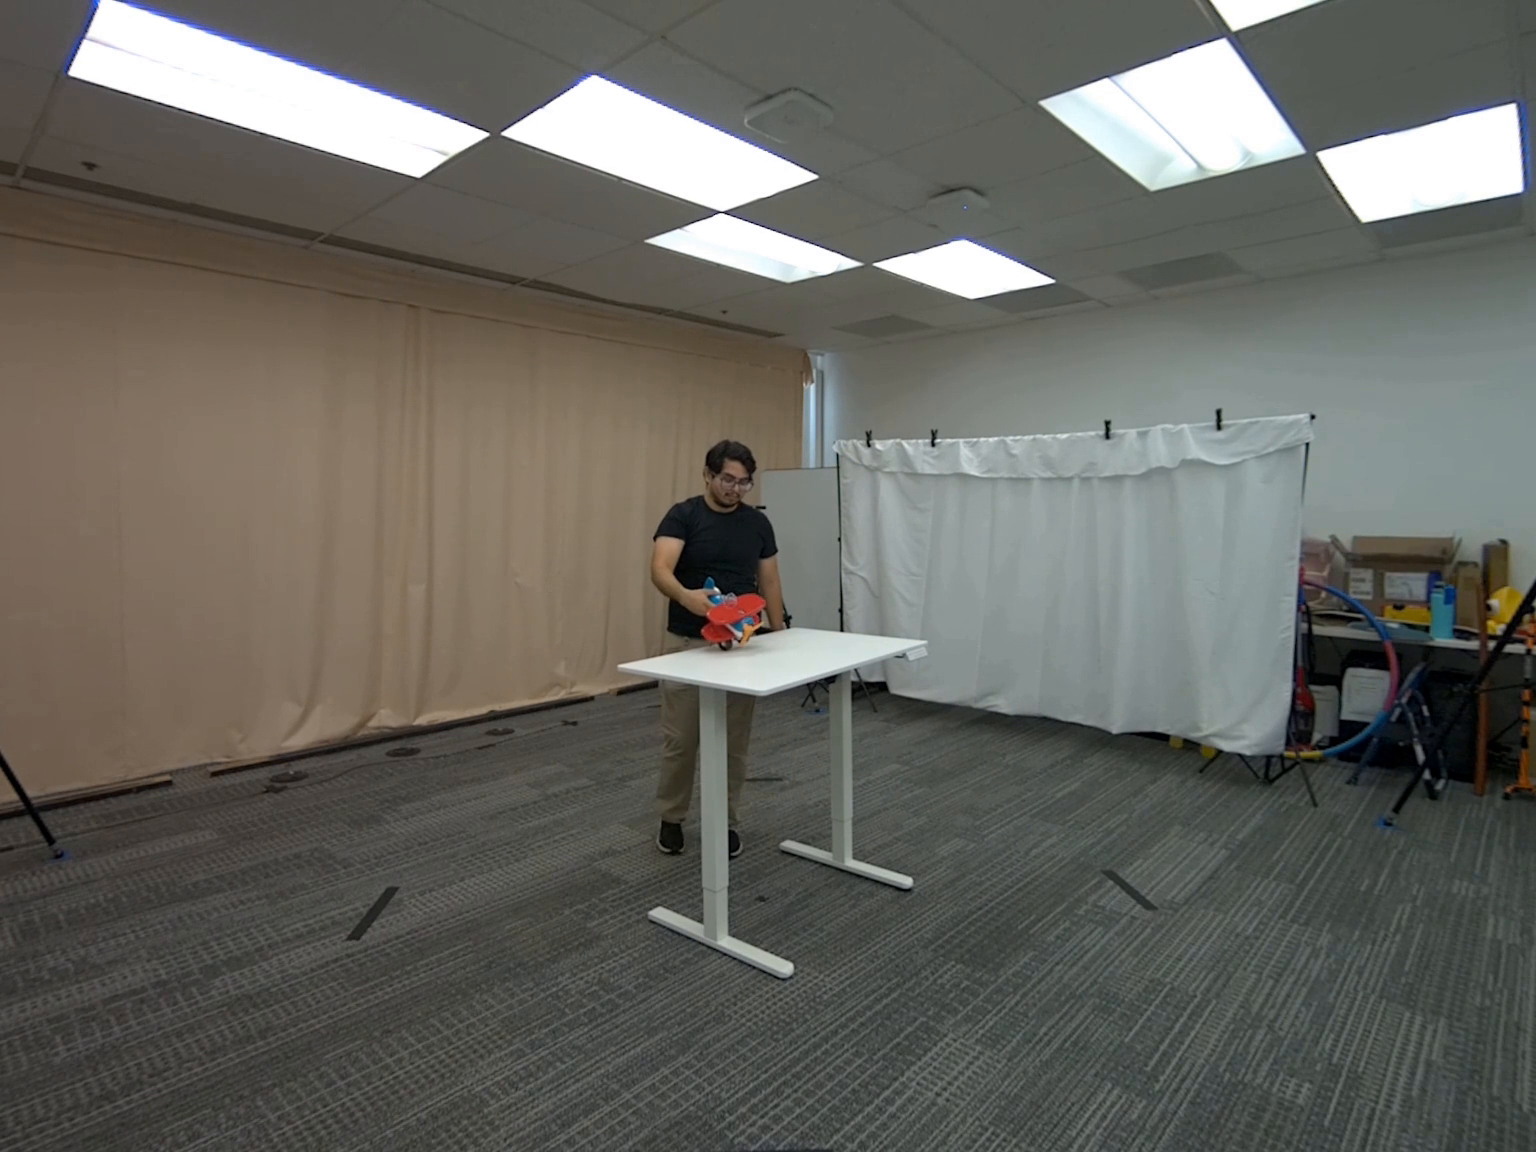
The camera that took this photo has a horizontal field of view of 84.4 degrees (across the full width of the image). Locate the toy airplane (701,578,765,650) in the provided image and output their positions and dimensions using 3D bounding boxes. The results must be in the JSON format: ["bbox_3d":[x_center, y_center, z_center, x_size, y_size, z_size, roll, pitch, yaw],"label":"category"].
[{"bbox_3d":[-0.155,0.135,2.984,0.259,0.157,0.251,32,39,-2],"label":"toy airplane"}]
